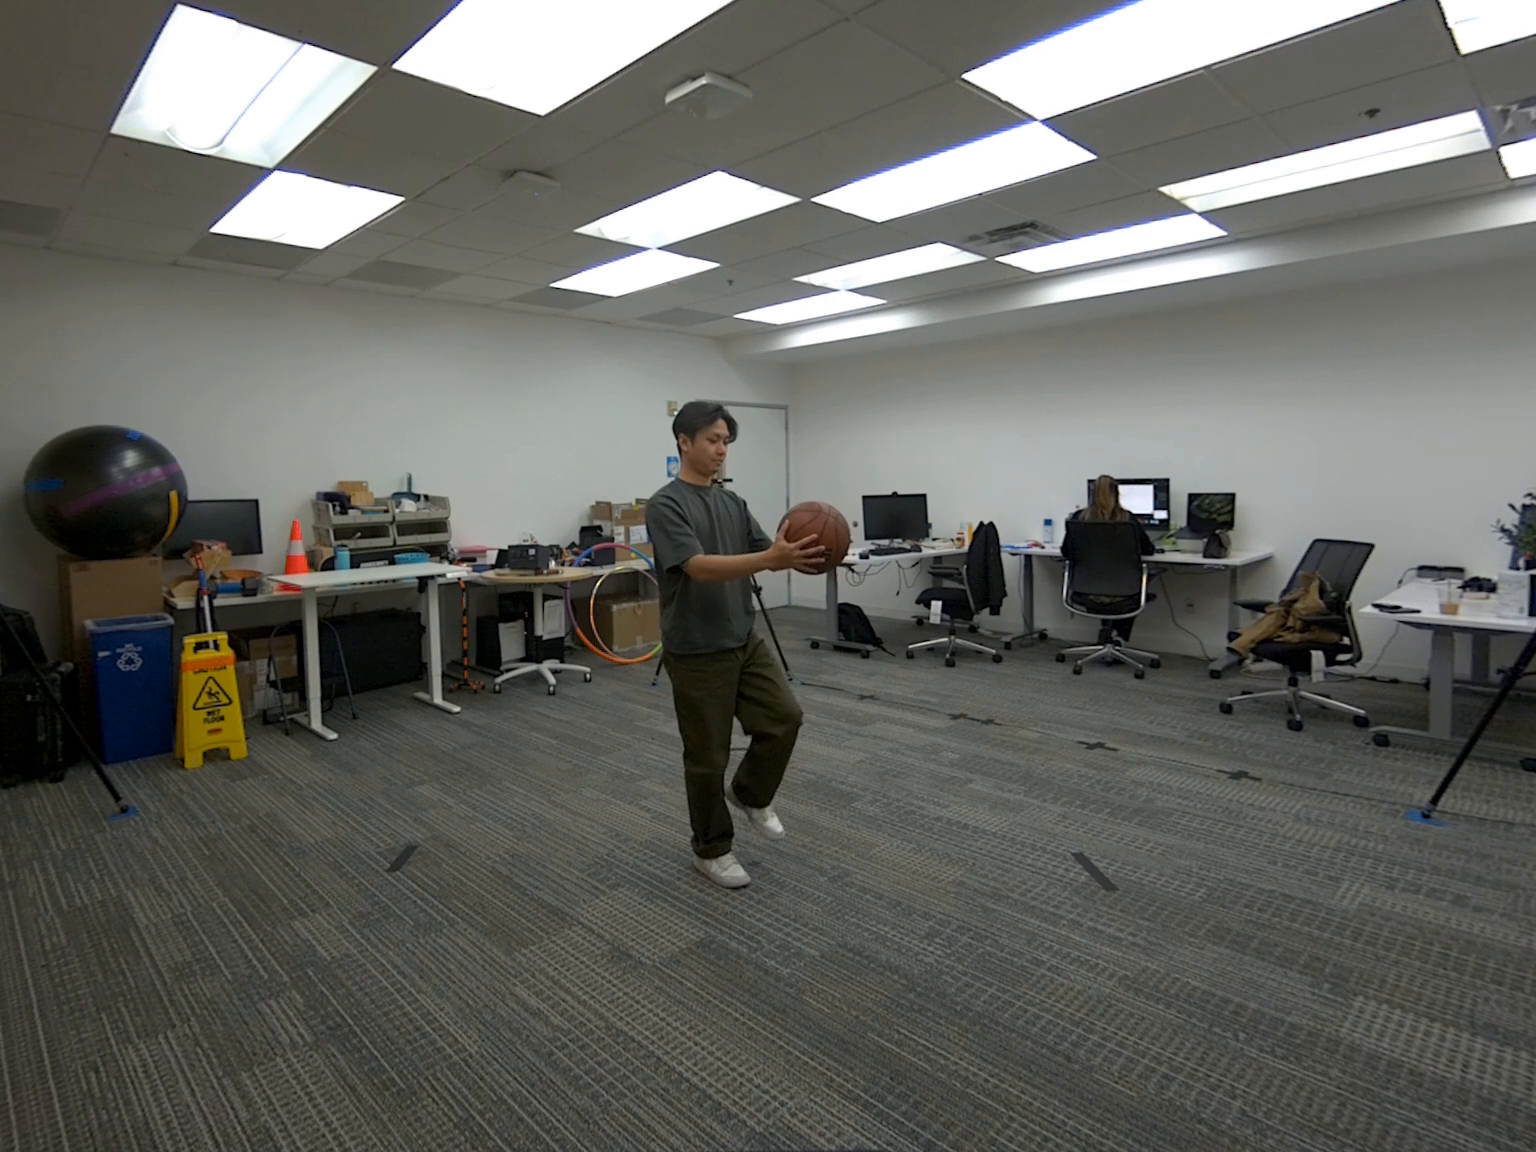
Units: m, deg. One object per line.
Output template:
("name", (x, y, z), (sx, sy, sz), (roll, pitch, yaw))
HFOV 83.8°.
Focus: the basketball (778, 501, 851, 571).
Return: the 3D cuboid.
("basketball", (0.144, -0.110, 2.759), (0.236, 0.235, 0.237), (-1, 5, -2))
